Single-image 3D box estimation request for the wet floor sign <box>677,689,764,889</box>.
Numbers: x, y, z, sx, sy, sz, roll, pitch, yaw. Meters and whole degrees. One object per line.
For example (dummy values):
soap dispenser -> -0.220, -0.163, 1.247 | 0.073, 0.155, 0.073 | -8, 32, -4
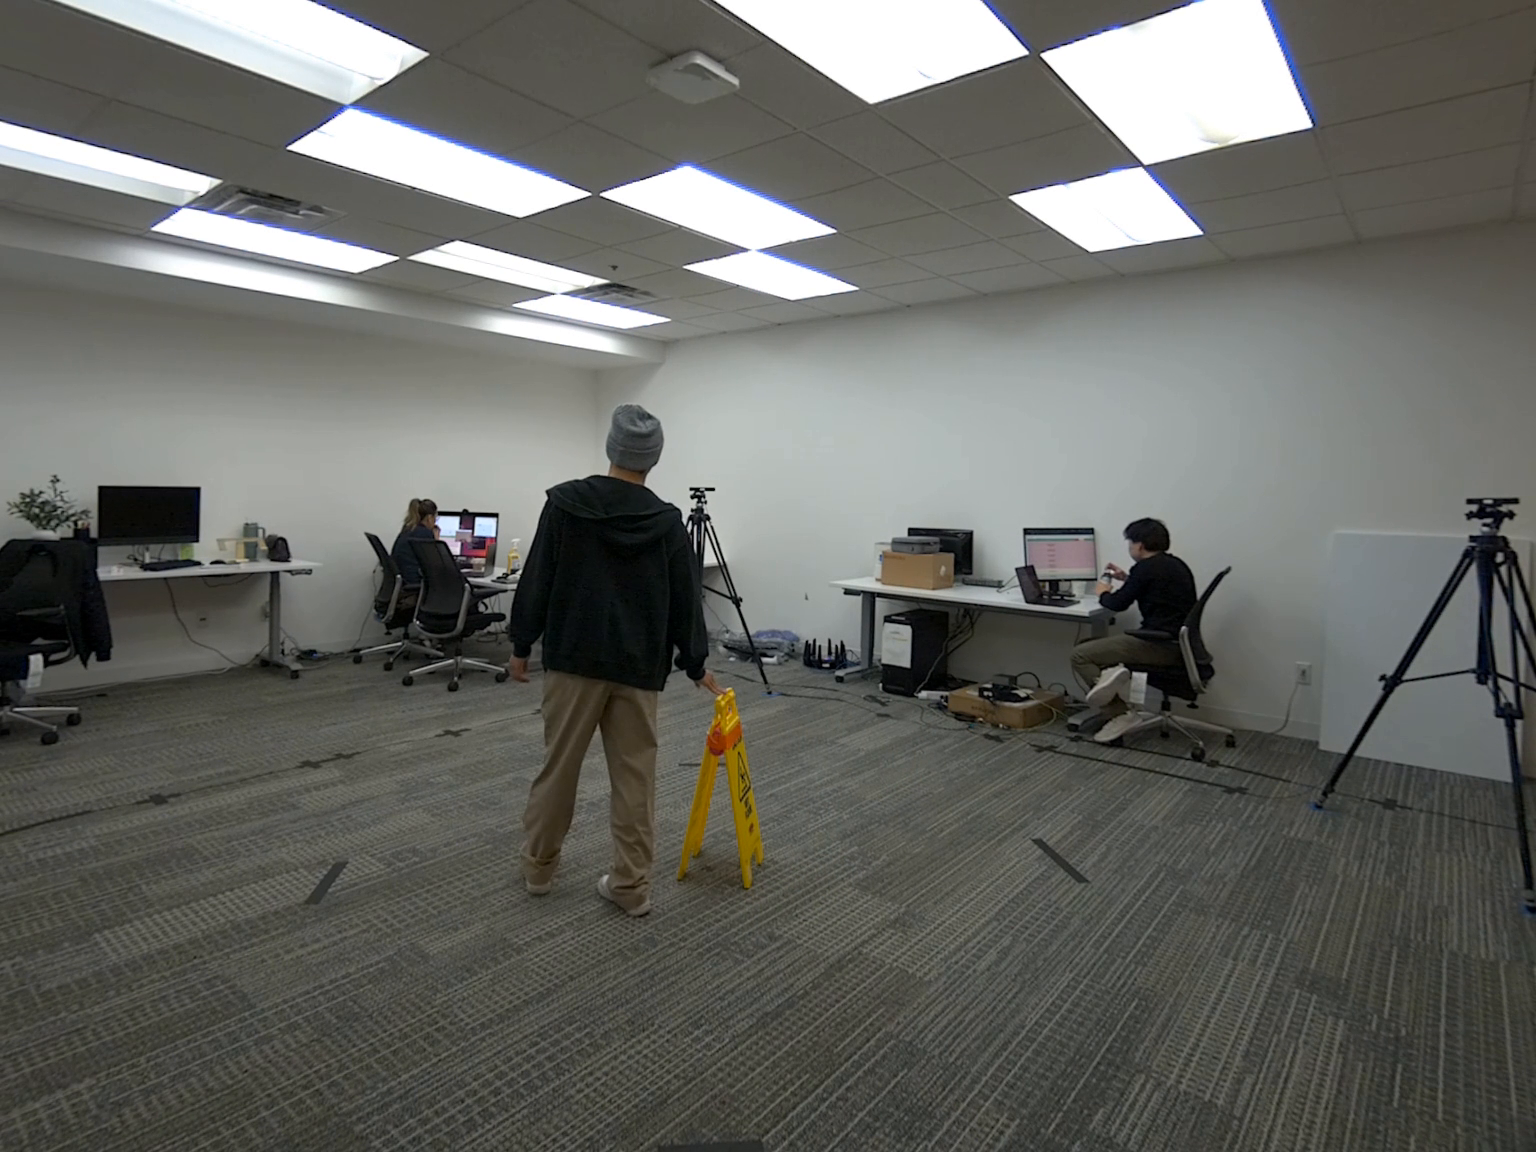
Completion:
wet floor sign -> -0.168, 0.744, 3.095 | 0.294, 0.643, 0.279 | 2, 4, 12
